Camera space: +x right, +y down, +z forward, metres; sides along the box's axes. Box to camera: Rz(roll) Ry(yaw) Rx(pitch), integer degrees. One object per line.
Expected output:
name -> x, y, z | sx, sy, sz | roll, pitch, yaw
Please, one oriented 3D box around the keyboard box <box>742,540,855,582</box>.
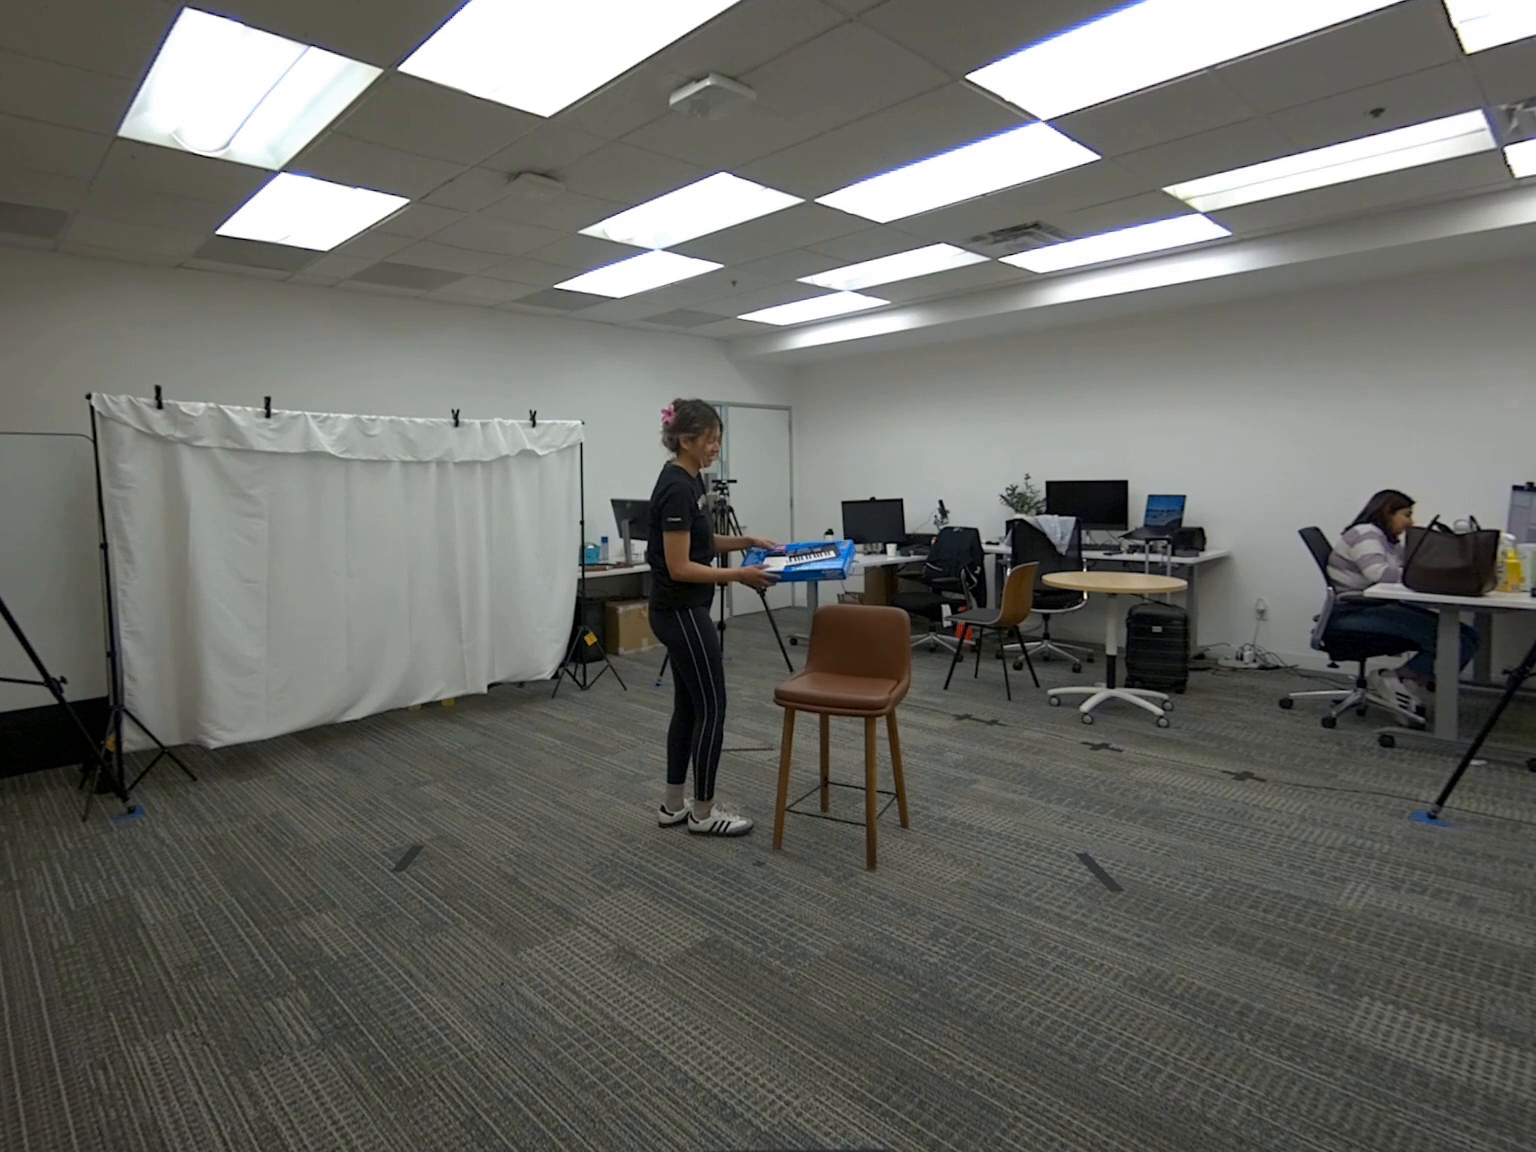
keyboard box -> 0.110, -0.045, 3.301 | 0.446, 0.057, 0.178 | -3, 39, 27
